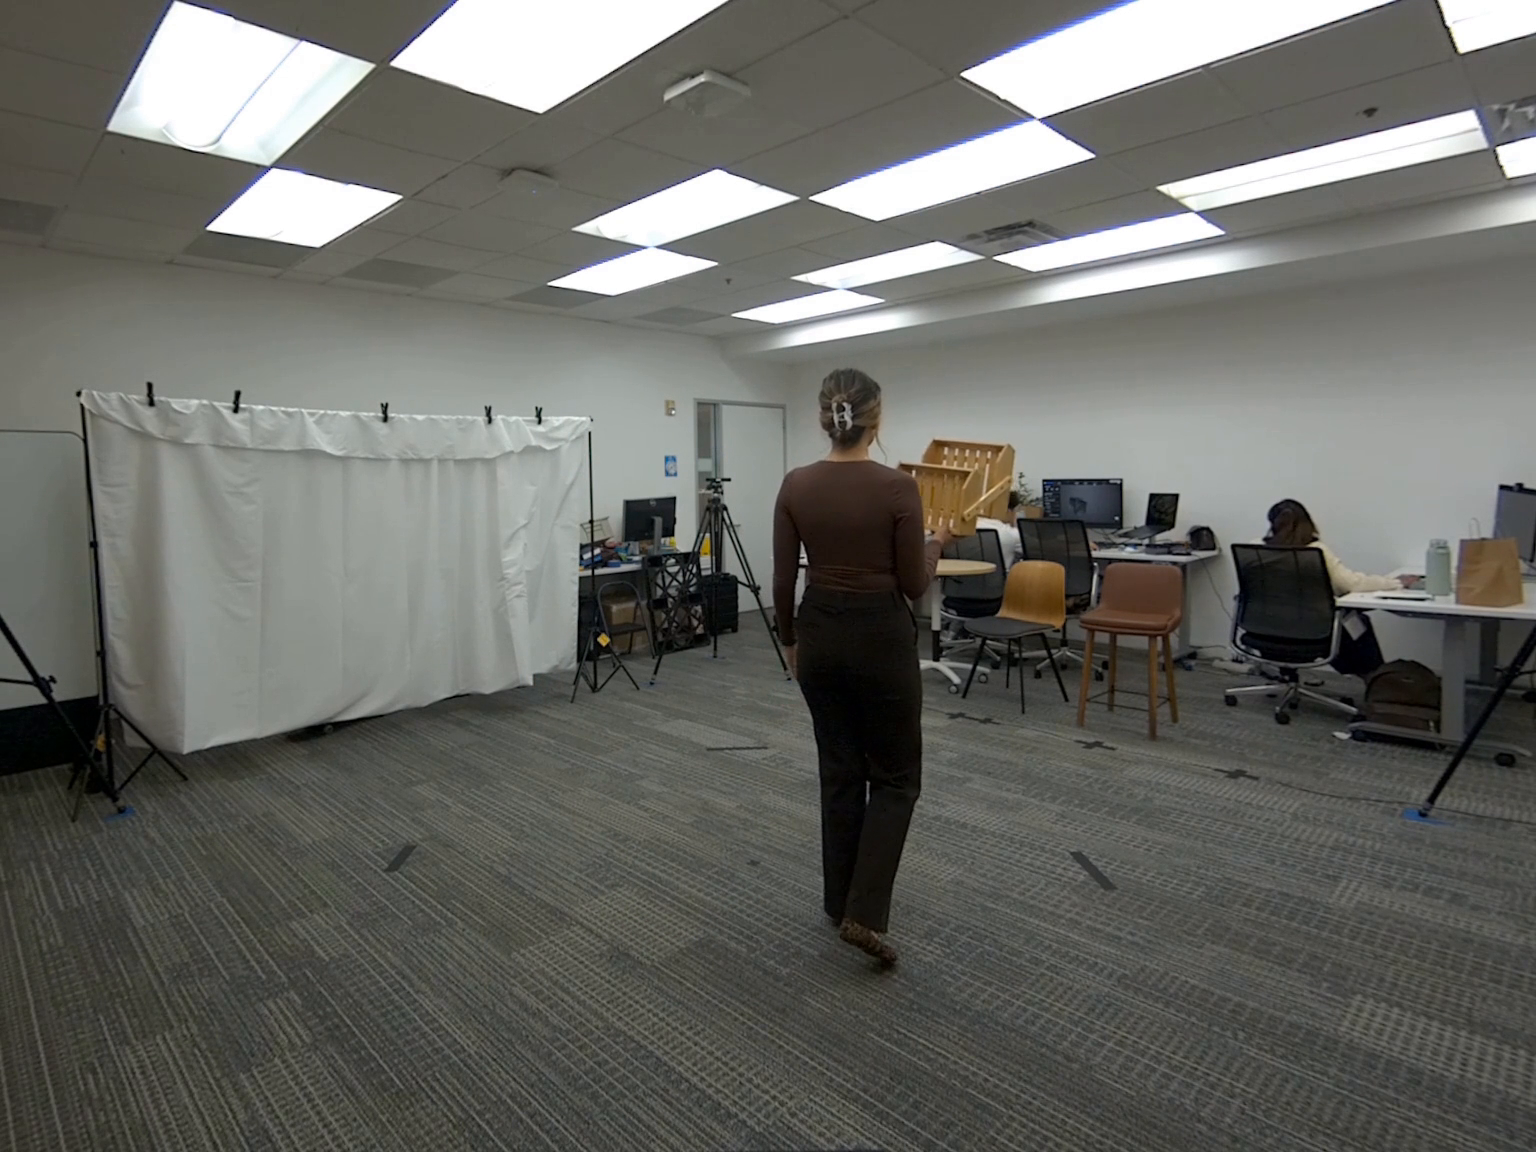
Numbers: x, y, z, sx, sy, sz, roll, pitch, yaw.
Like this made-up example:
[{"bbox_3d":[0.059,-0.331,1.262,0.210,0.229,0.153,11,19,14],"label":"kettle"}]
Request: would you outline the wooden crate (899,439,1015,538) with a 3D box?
[{"bbox_3d":[0.602,-0.308,2.844,0.265,0.300,0.336,-1,10,-41],"label":"wooden crate"}]
